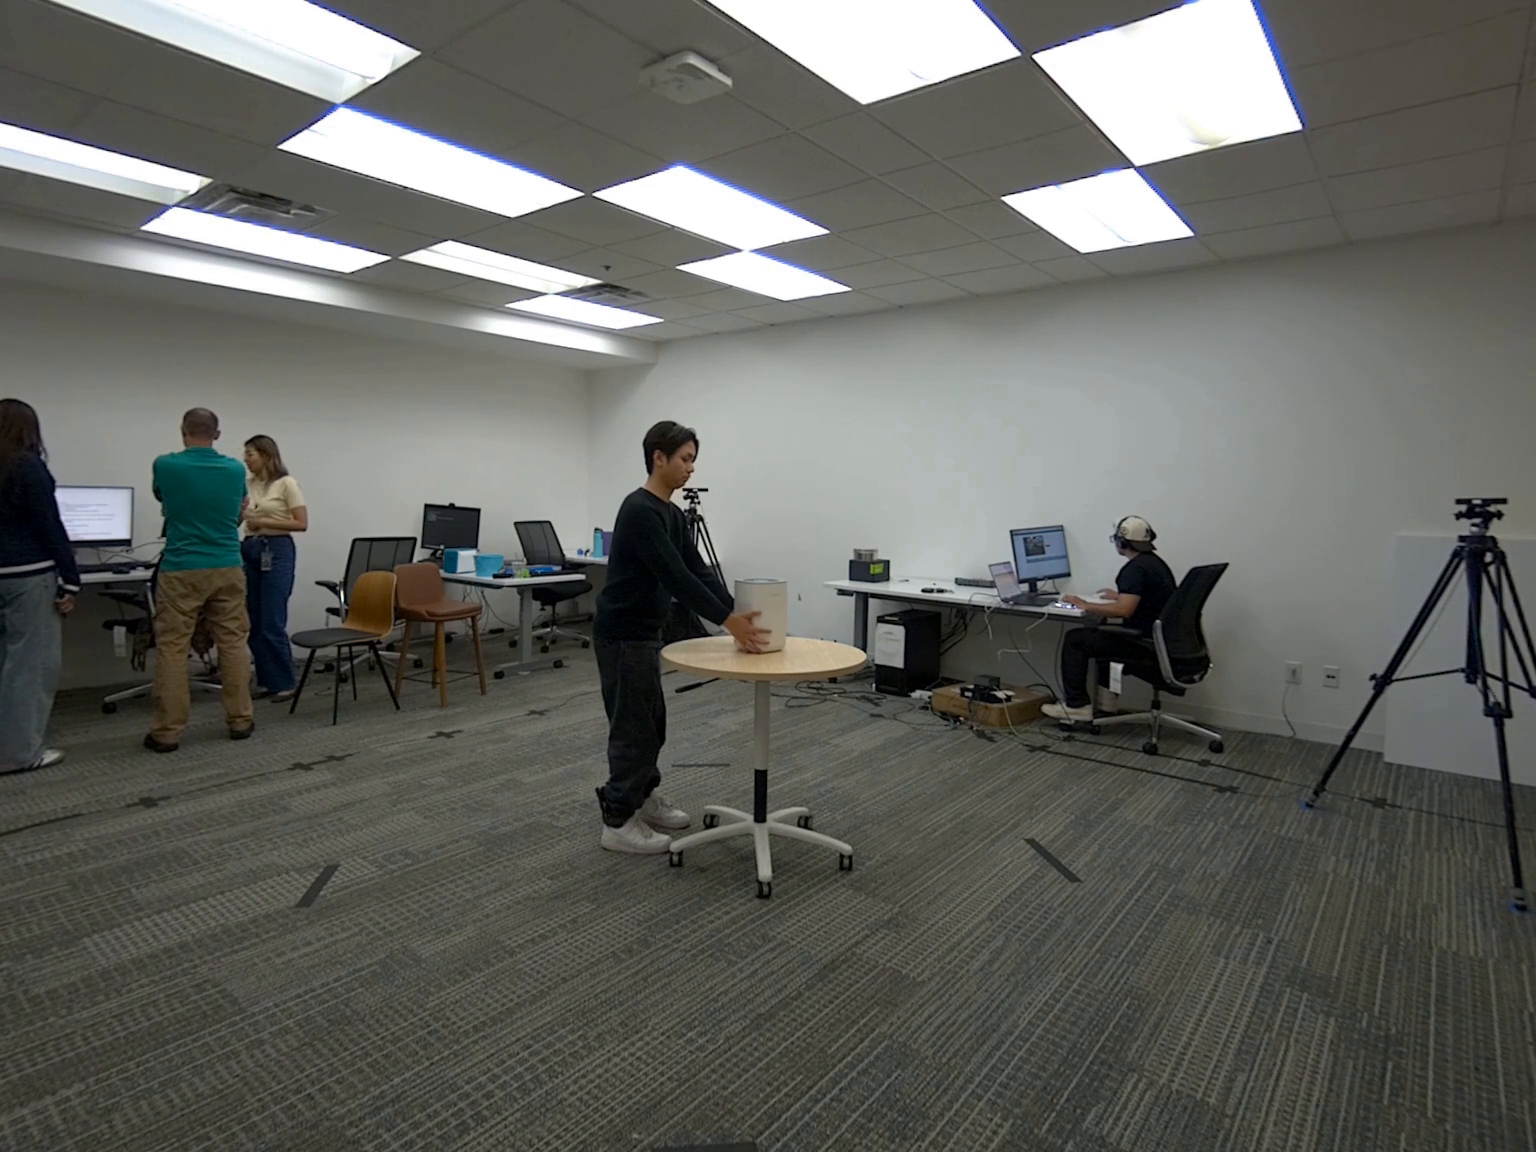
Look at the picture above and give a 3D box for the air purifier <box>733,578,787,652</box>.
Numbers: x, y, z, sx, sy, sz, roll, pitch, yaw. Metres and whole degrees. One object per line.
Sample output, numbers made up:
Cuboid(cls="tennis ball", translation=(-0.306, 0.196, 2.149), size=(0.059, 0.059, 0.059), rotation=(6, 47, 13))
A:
Cuboid(cls="air purifier", translation=(-0.040, 0.145, 3.230), size=(0.166, 0.265, 0.177), rotation=(-1, 2, -42))
